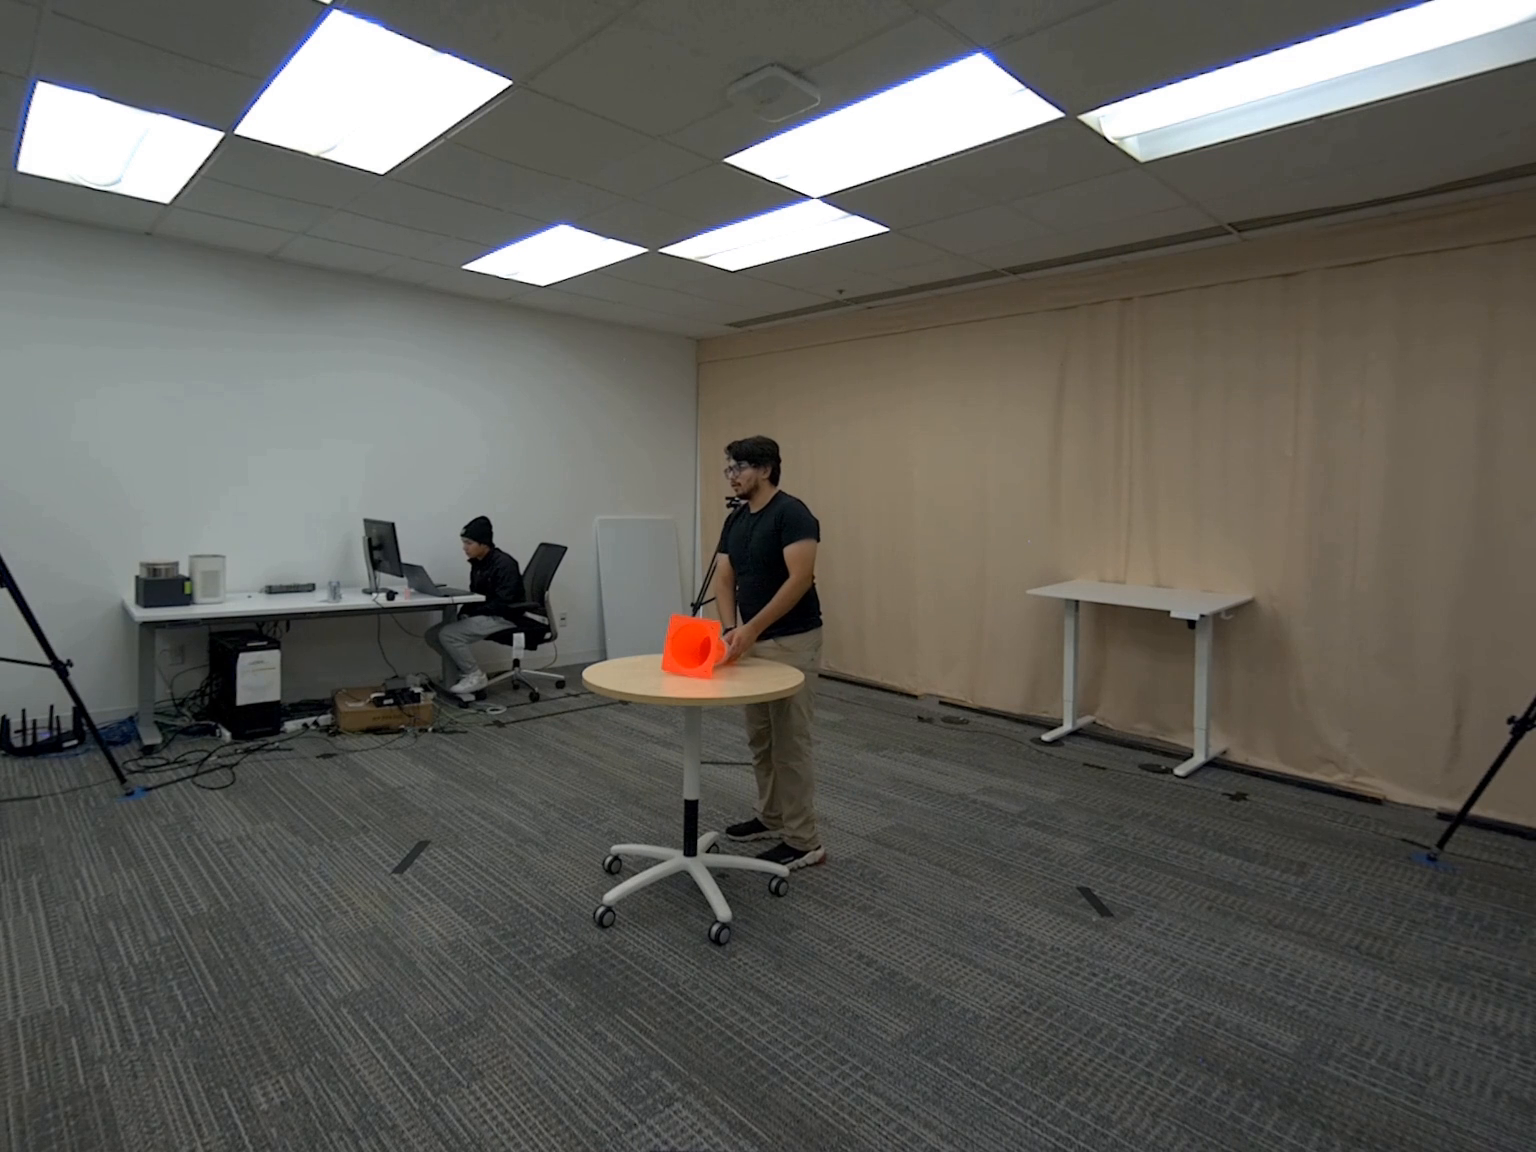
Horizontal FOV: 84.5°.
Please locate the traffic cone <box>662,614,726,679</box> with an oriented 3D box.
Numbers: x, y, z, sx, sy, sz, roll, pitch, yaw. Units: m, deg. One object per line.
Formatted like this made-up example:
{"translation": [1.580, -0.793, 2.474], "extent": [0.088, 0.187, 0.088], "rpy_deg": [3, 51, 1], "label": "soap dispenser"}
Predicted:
{"translation": [-0.193, 0.276, 3.028], "extent": [0.207, 0.206, 0.374], "rpy_deg": [7, -8, 25], "label": "traffic cone"}
